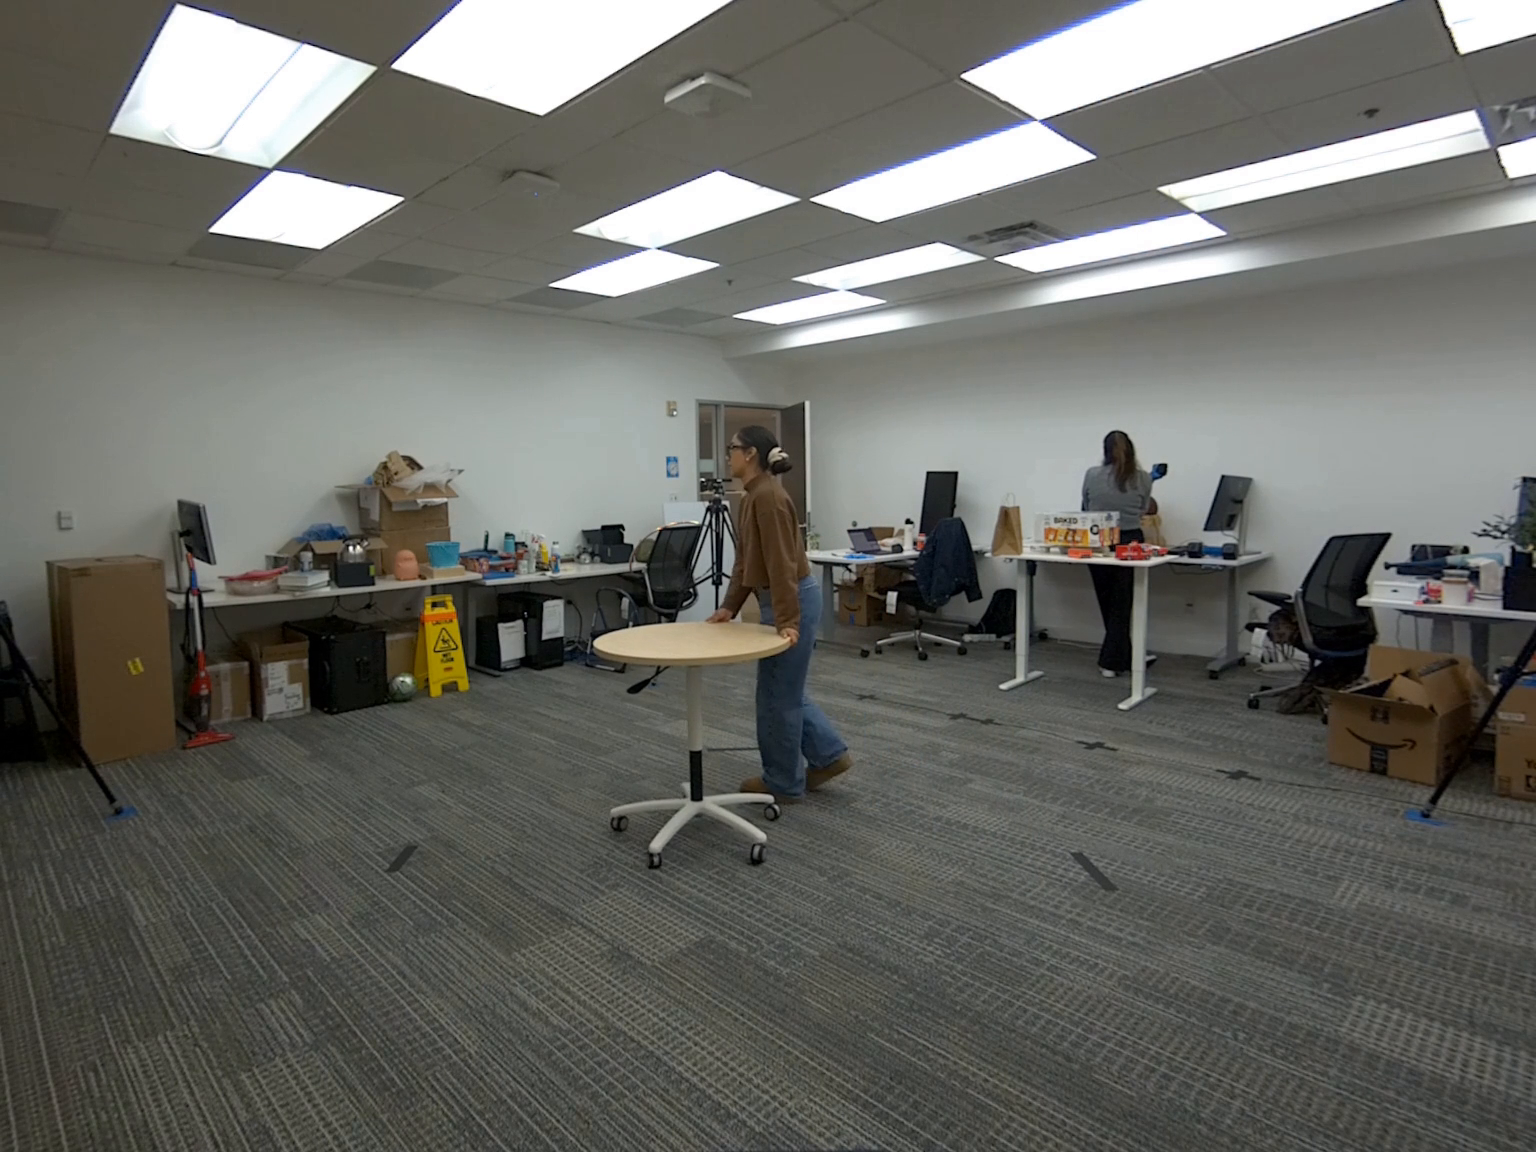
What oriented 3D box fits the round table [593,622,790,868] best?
[{"bbox_3d":[-0.296,0.628,3.330,0.784,0.783,0.789,-2,5,-2],"label":"round table"}]
